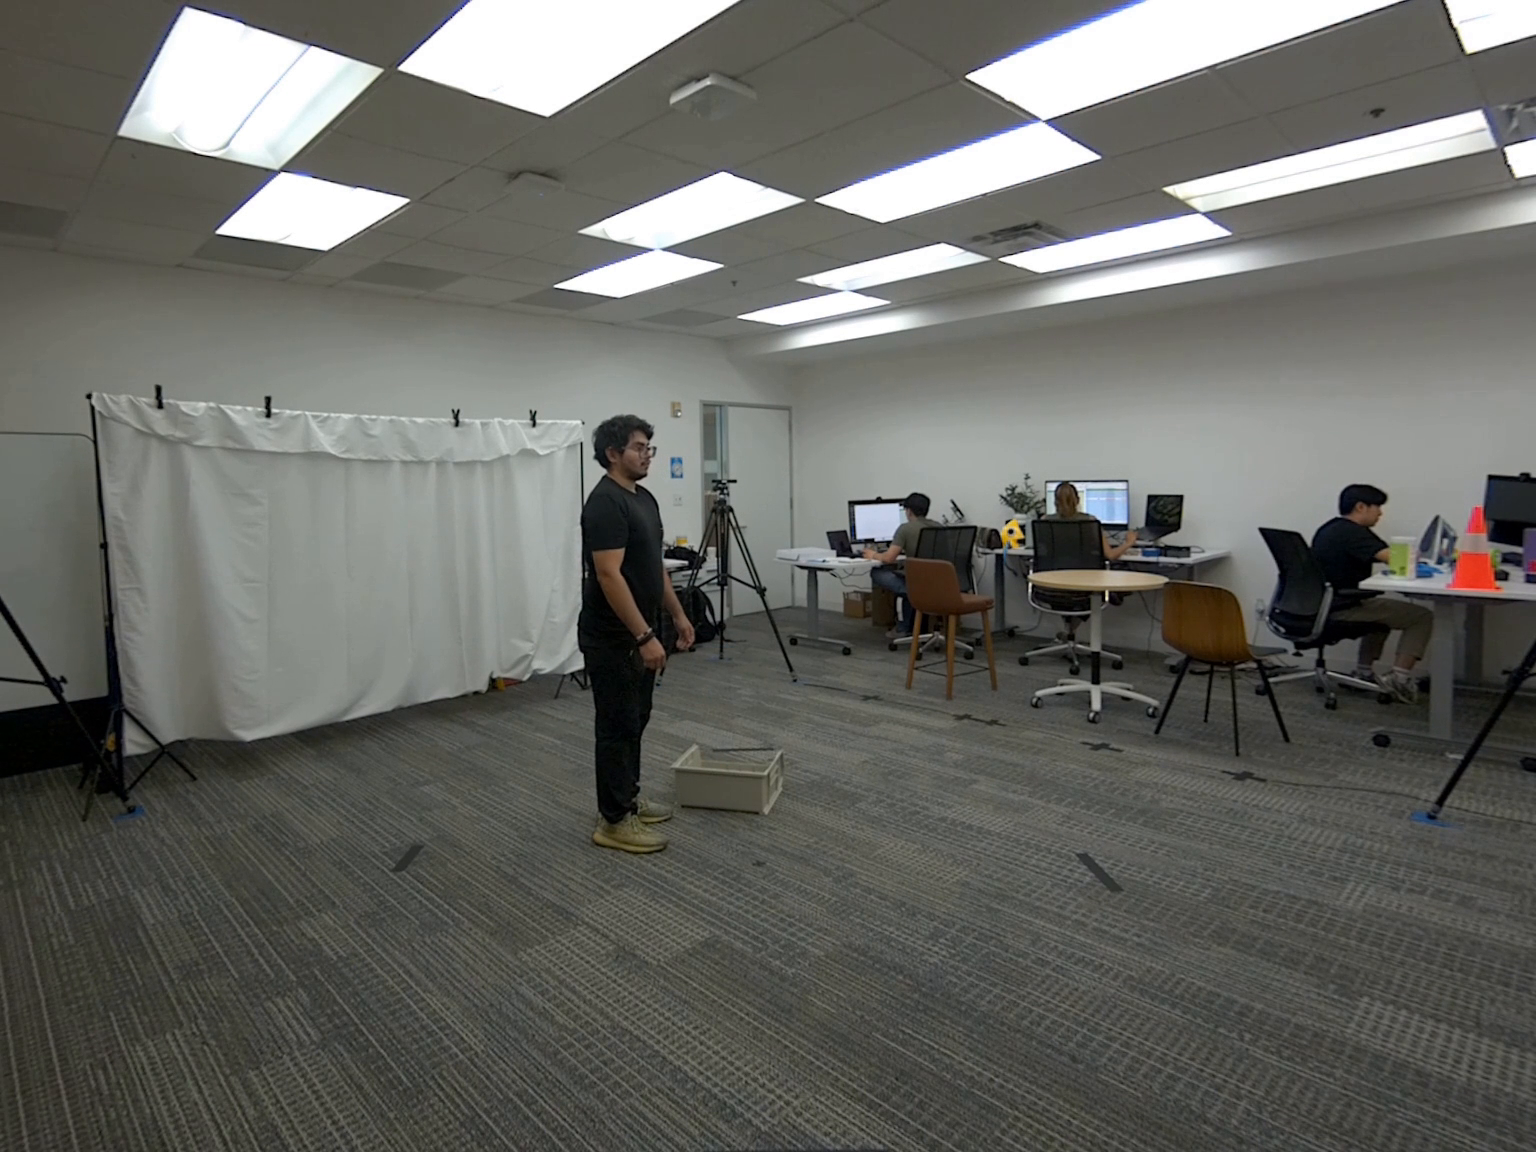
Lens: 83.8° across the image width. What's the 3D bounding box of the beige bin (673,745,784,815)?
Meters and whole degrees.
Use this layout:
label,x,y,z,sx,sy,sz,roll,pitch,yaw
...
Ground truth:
label,x,y,z,sx,sy,sz,roll,pitch,yaw
beige bin,-0.170,0.888,3.783,0.429,0.188,0.374,1,7,15
